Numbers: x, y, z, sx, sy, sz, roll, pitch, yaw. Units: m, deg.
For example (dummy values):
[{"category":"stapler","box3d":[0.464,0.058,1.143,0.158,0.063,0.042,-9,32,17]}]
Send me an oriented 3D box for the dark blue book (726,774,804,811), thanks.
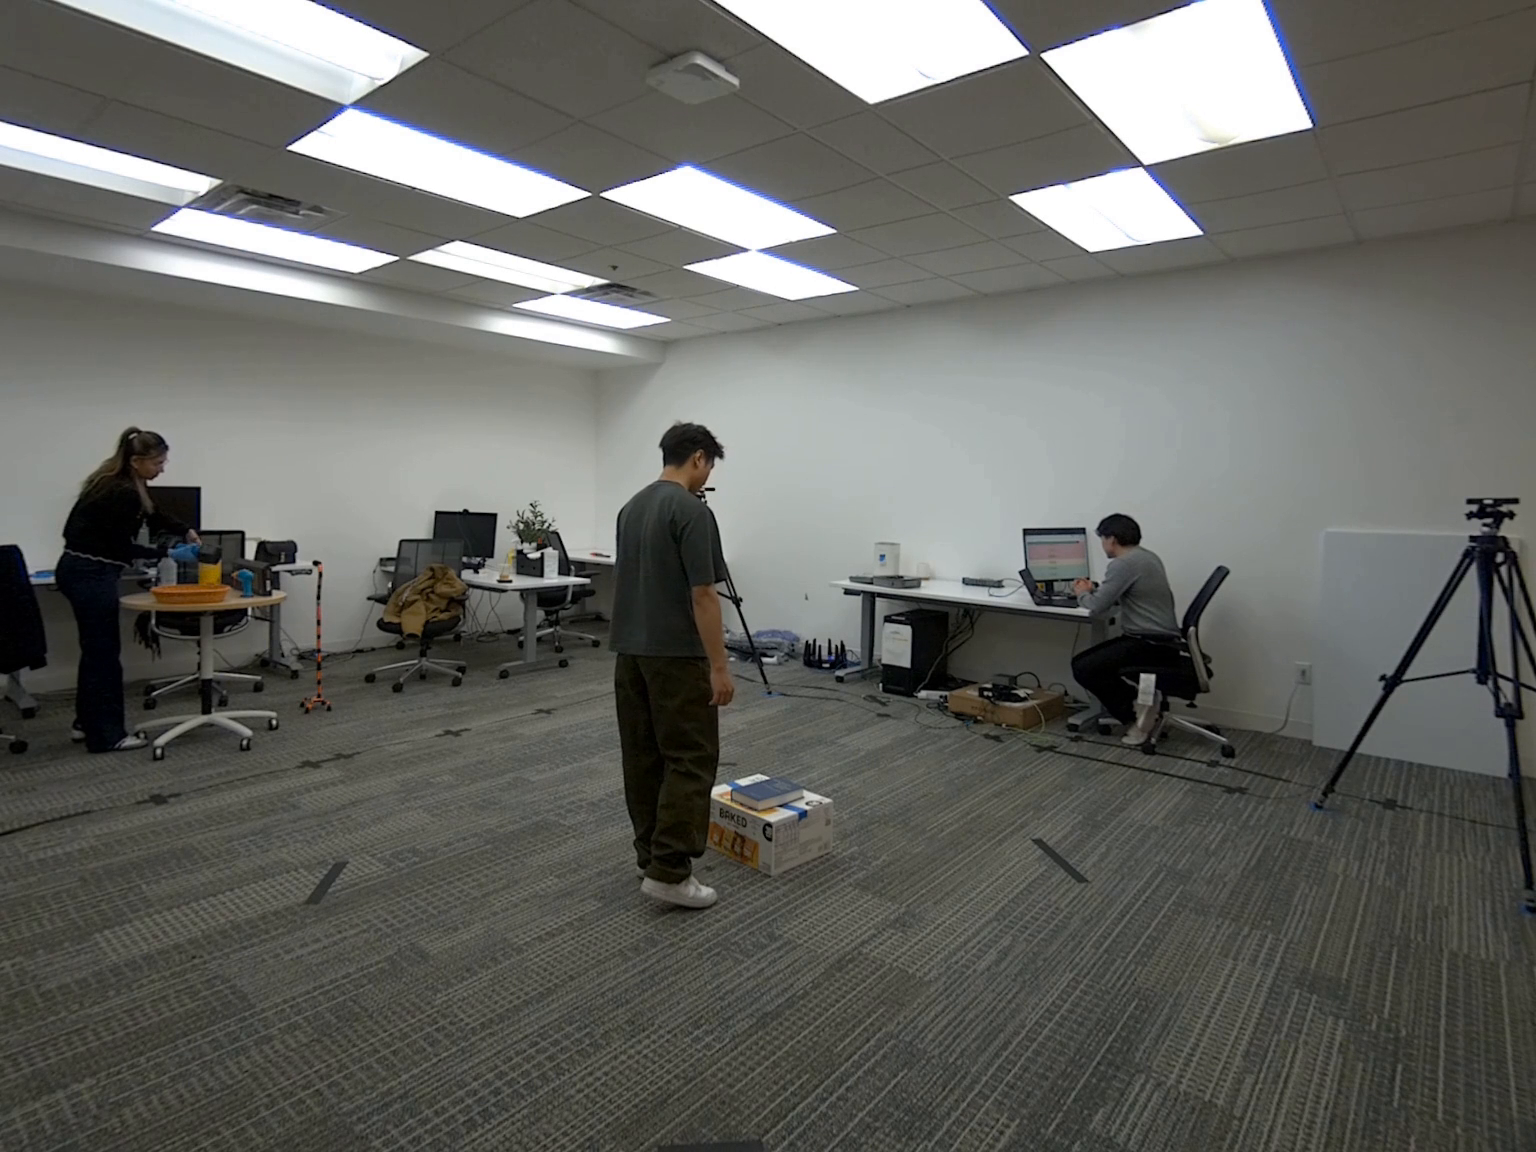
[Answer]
[{"category":"dark blue book","box3d":[-0.005,0.842,3.289,0.238,0.045,0.169,-4,7,-42]}]
